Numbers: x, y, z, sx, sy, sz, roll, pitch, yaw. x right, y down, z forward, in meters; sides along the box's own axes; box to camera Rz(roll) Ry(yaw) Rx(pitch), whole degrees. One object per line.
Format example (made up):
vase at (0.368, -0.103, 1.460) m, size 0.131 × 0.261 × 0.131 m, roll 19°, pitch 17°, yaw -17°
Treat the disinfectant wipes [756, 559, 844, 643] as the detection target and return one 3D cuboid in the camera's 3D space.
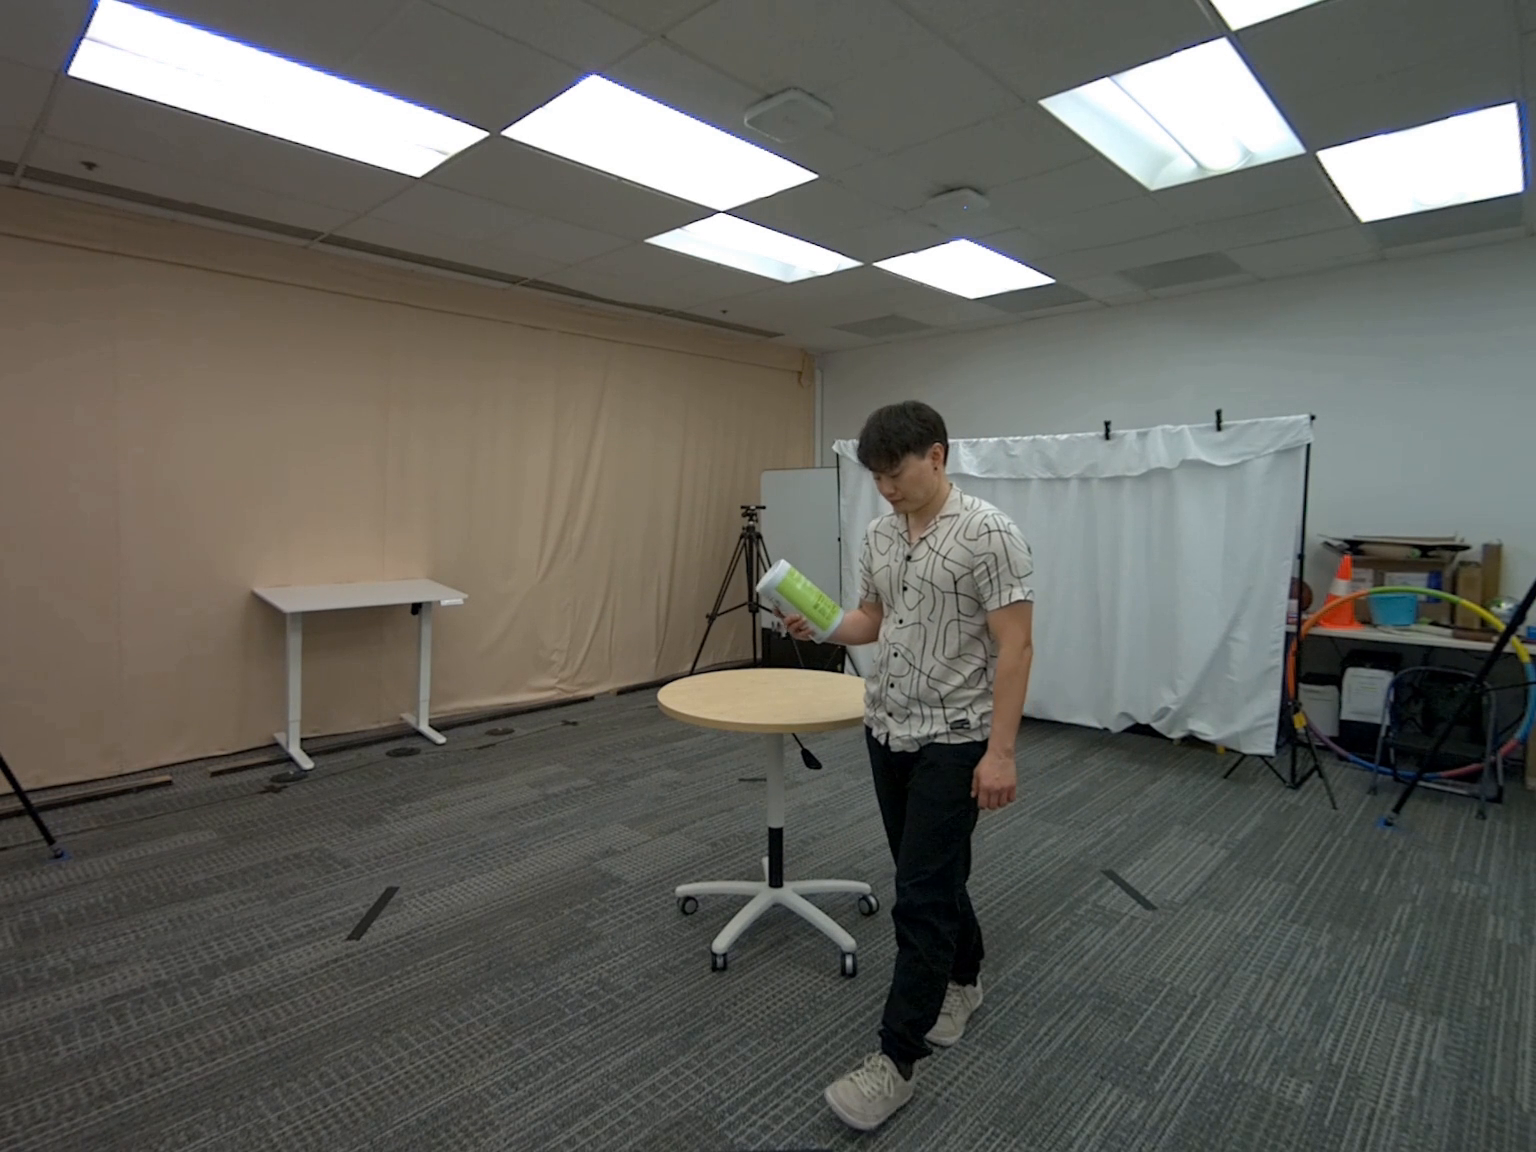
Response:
disinfectant wipes at (0.089, 0.065, 2.139) m, size 0.217 × 0.118 × 0.118 m, roll 41°, pitch 3°, yaw -2°
